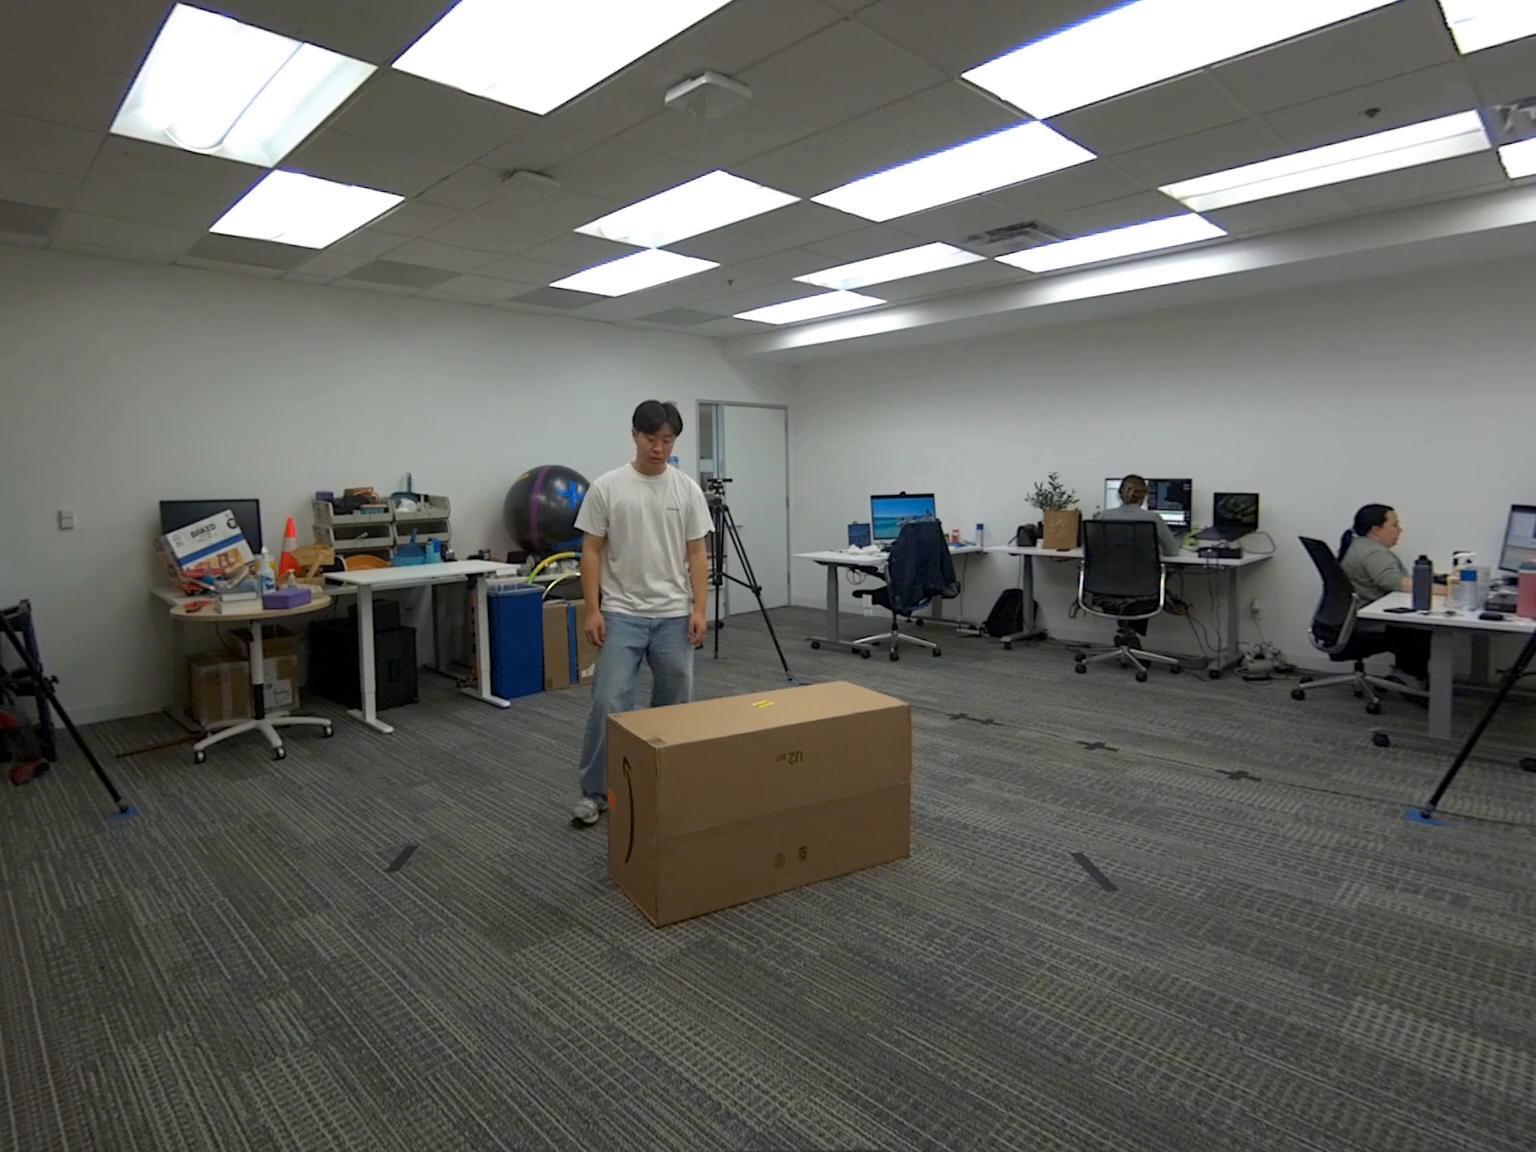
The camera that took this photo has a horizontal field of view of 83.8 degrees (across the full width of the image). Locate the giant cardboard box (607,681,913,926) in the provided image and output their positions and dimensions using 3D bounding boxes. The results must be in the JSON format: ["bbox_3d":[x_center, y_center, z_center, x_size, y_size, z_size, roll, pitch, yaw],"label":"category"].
[{"bbox_3d":[-0.022,0.760,3.067,1.002,0.575,0.438,-4,6,-29],"label":"giant cardboard box"}]
